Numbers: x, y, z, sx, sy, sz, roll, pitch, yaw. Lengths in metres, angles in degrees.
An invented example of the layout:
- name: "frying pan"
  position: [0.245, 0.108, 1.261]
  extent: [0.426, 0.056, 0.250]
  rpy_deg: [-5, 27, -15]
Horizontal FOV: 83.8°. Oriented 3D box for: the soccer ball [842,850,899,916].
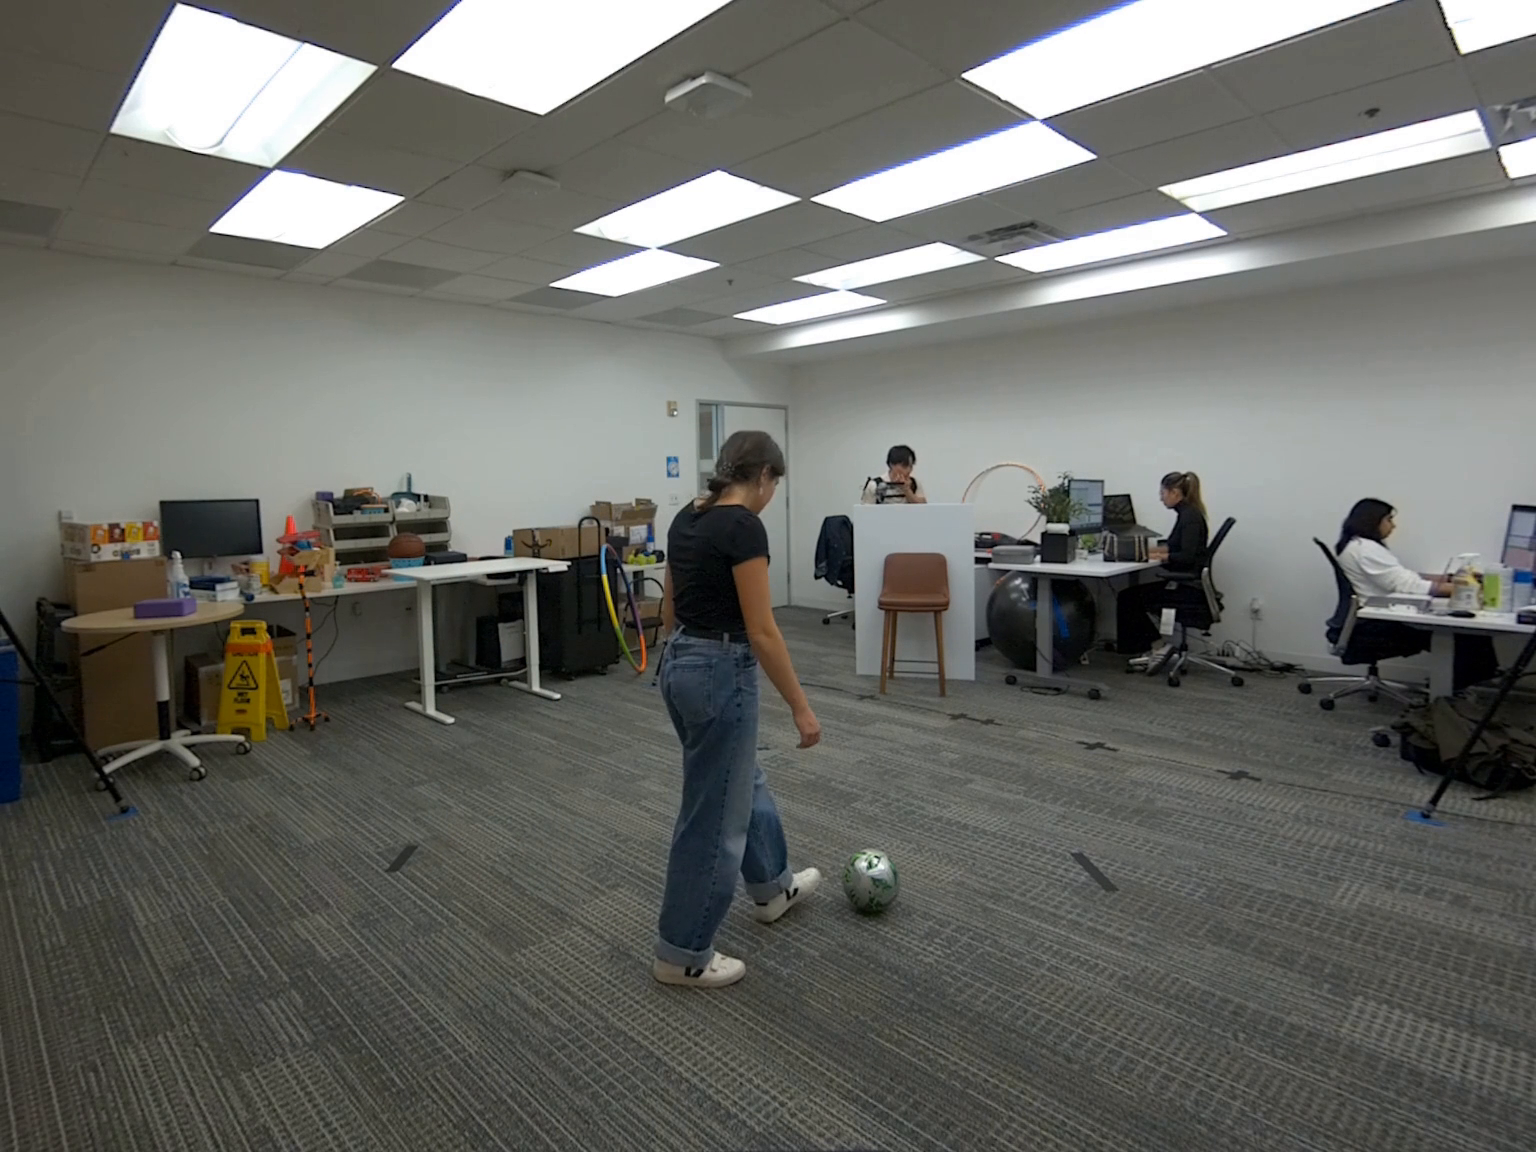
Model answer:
- name: "soccer ball"
  position: [0.340, 0.981, 2.769]
  extent: [0.187, 0.187, 0.188]
  rpy_deg: [-1, 5, -2]
